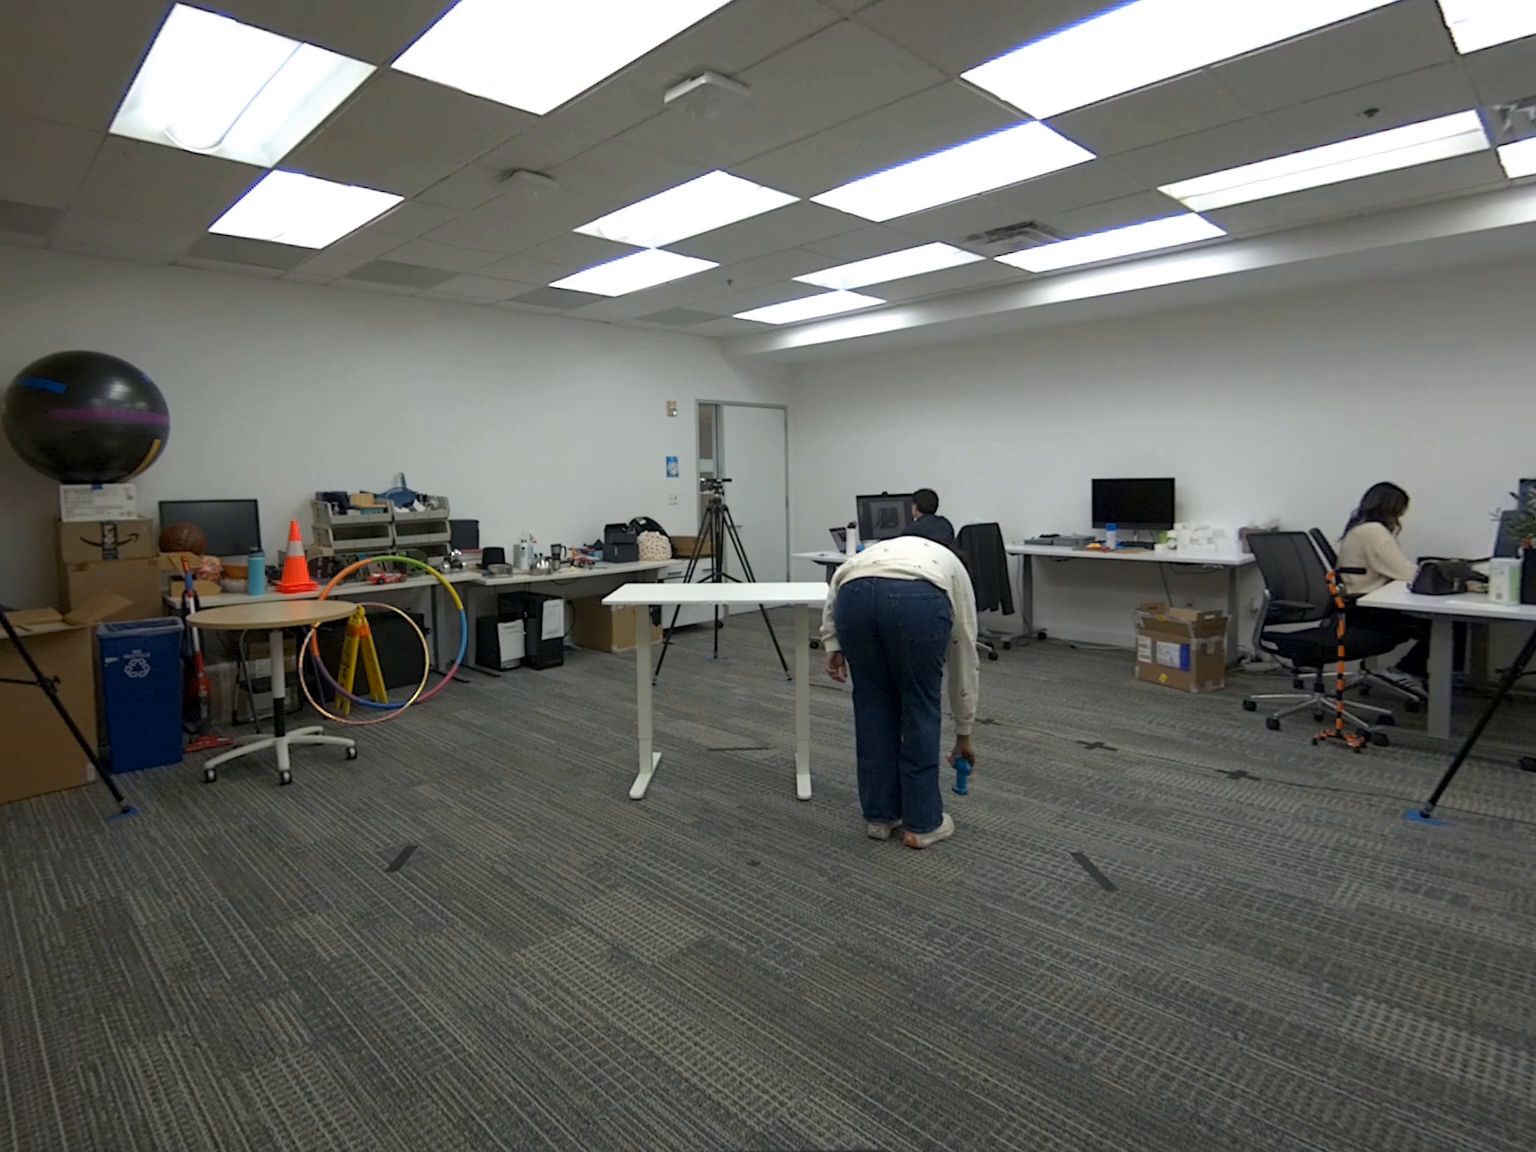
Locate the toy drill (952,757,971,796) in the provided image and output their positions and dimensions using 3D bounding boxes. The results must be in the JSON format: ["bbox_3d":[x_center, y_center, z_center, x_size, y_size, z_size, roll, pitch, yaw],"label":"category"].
[{"bbox_3d":[0.780,0.802,3.529,0.060,0.145,0.174,1,10,-17],"label":"toy drill"}]
